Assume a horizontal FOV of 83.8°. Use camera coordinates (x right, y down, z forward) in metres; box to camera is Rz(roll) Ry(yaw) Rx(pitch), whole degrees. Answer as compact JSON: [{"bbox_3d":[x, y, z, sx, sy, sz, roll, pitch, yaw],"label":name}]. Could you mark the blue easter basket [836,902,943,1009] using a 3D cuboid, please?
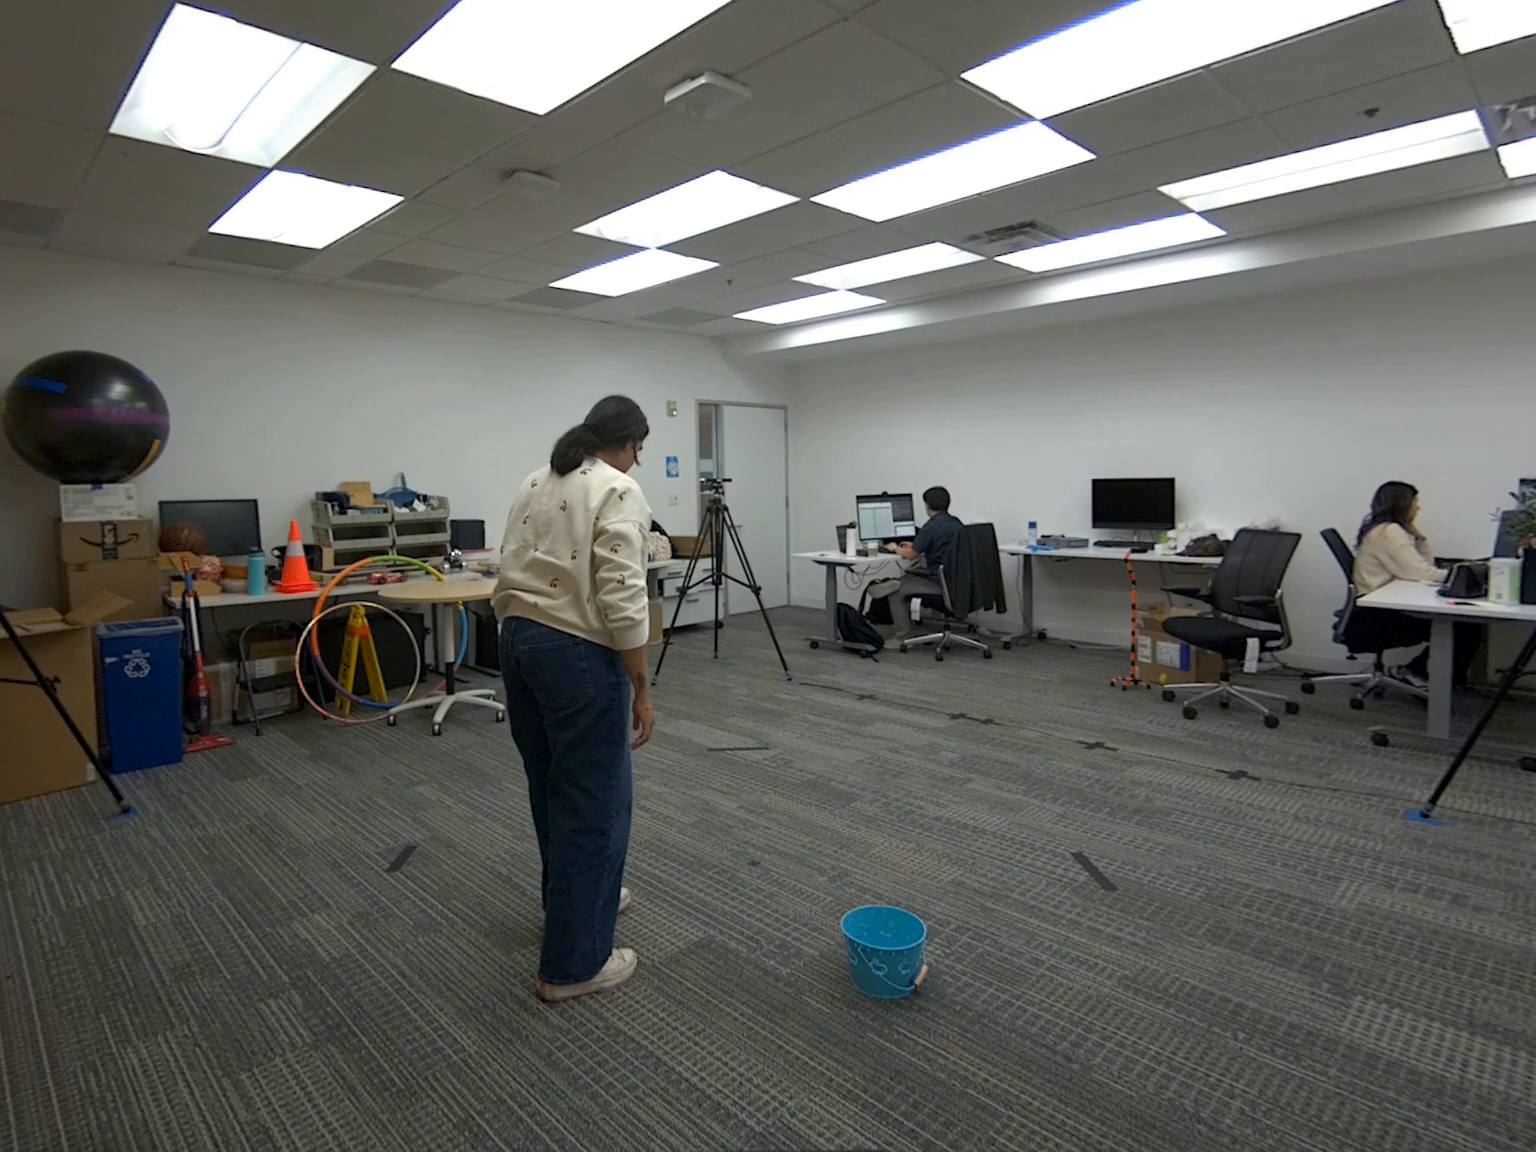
[{"bbox_3d":[0.327,1.039,2.366,0.243,0.155,0.245,-2,6,-2],"label":"blue easter basket"}]
